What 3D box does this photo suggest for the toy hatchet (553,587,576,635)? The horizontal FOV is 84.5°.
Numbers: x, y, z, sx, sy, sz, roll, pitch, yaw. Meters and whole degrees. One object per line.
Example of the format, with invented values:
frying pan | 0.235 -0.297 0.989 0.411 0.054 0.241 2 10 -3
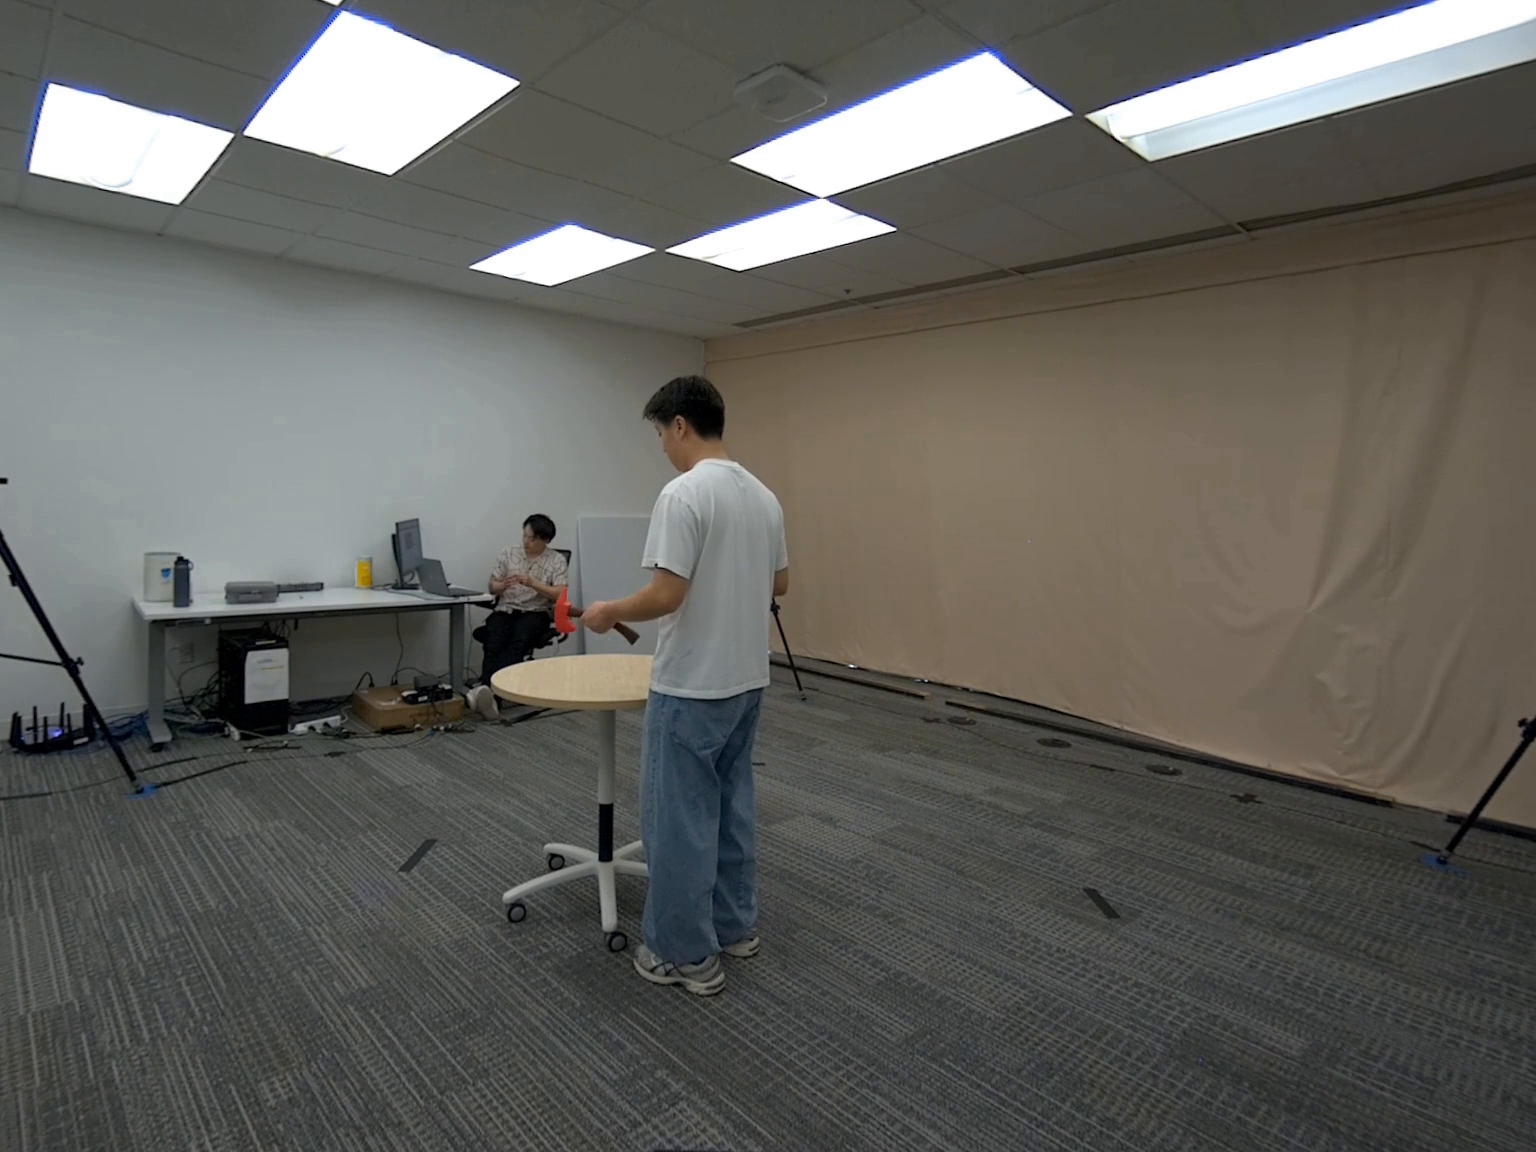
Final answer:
toy hatchet | -0.499 0.129 2.483 0.273 0.130 0.029 32 11 10
